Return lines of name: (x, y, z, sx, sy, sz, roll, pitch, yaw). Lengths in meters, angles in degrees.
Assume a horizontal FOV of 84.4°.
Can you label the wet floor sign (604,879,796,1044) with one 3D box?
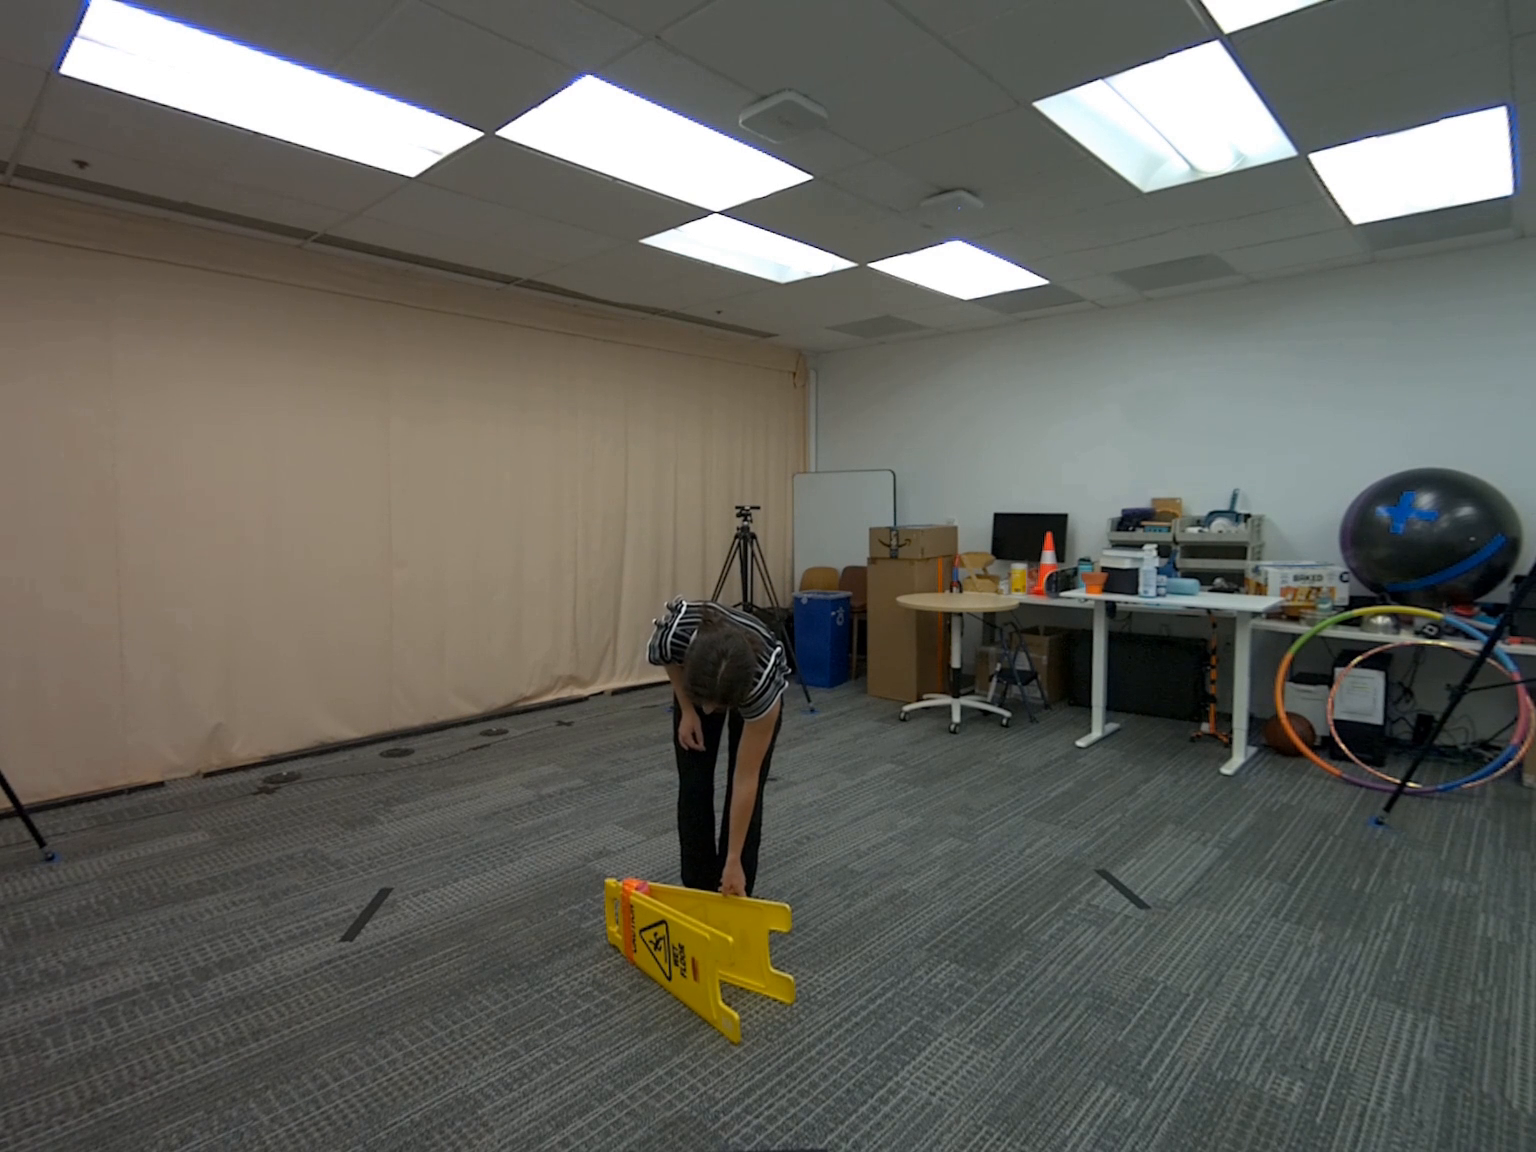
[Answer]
wet floor sign: (-0.261, 1.066, 2.467, 0.666, 0.282, 0.281, 0, 4, 39)
